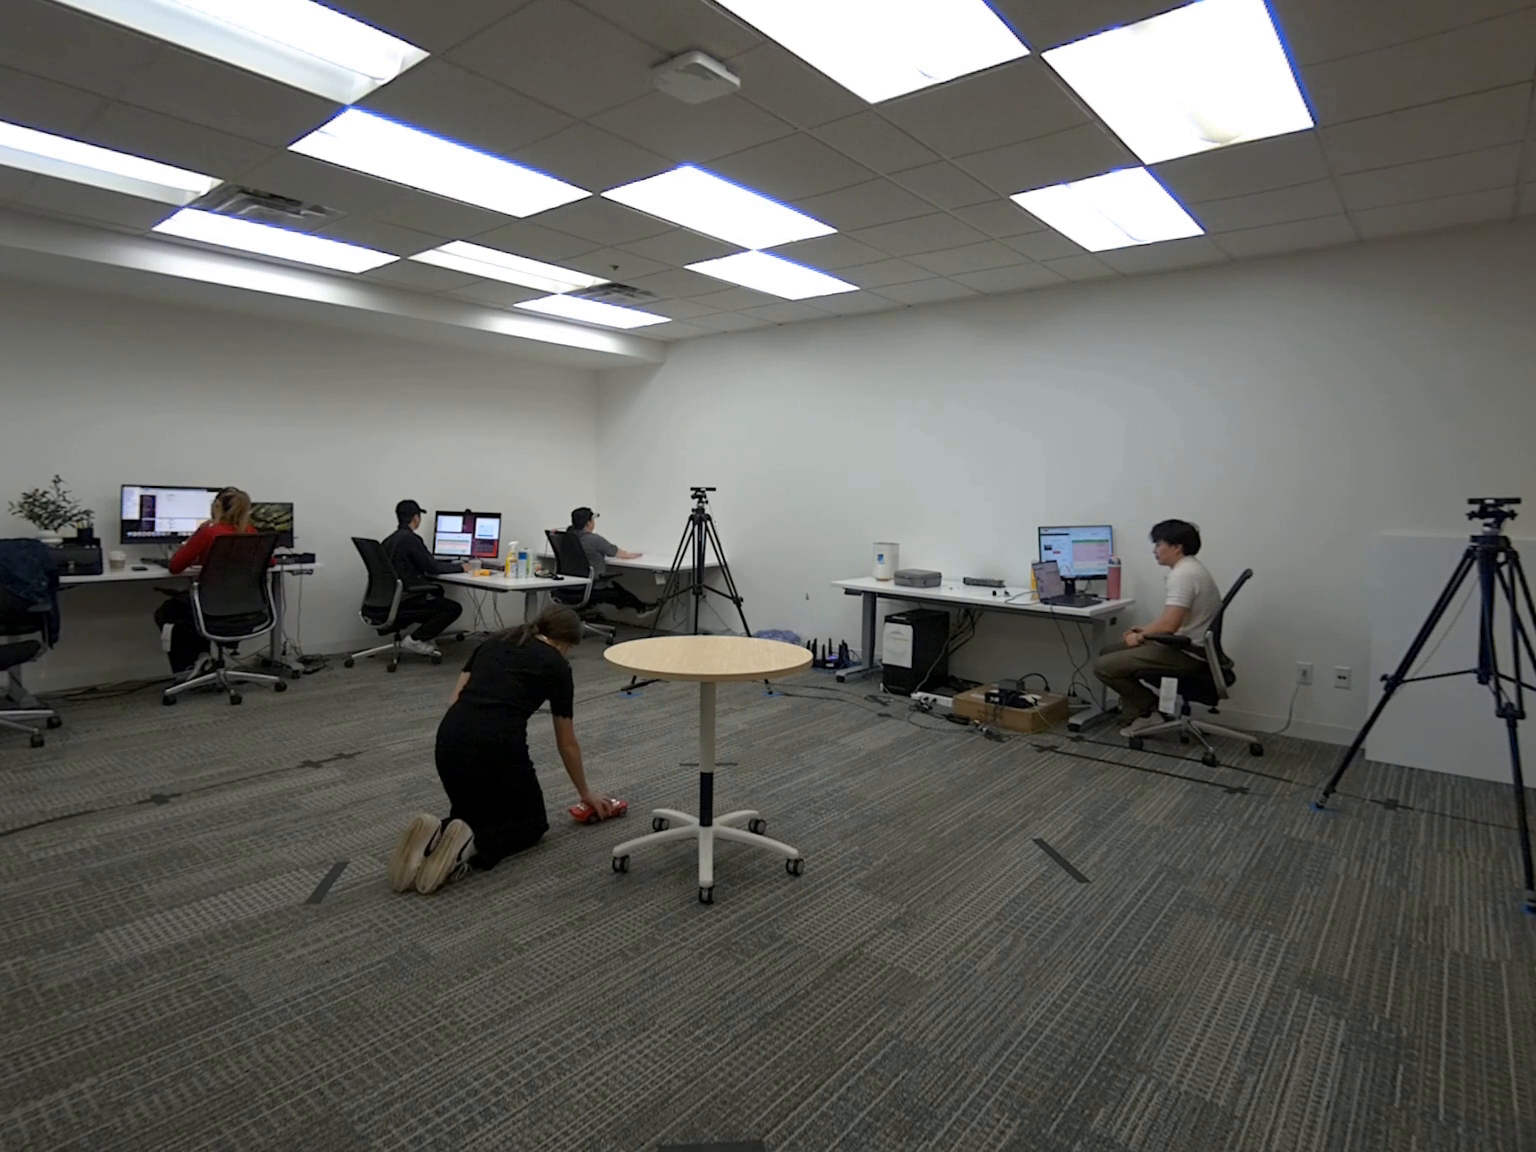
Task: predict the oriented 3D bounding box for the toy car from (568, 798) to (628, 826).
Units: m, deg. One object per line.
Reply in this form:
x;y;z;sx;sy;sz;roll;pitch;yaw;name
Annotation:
-0.737;0.982;3.571;0.246;0.083;0.134;10;-3;-38;toy car
